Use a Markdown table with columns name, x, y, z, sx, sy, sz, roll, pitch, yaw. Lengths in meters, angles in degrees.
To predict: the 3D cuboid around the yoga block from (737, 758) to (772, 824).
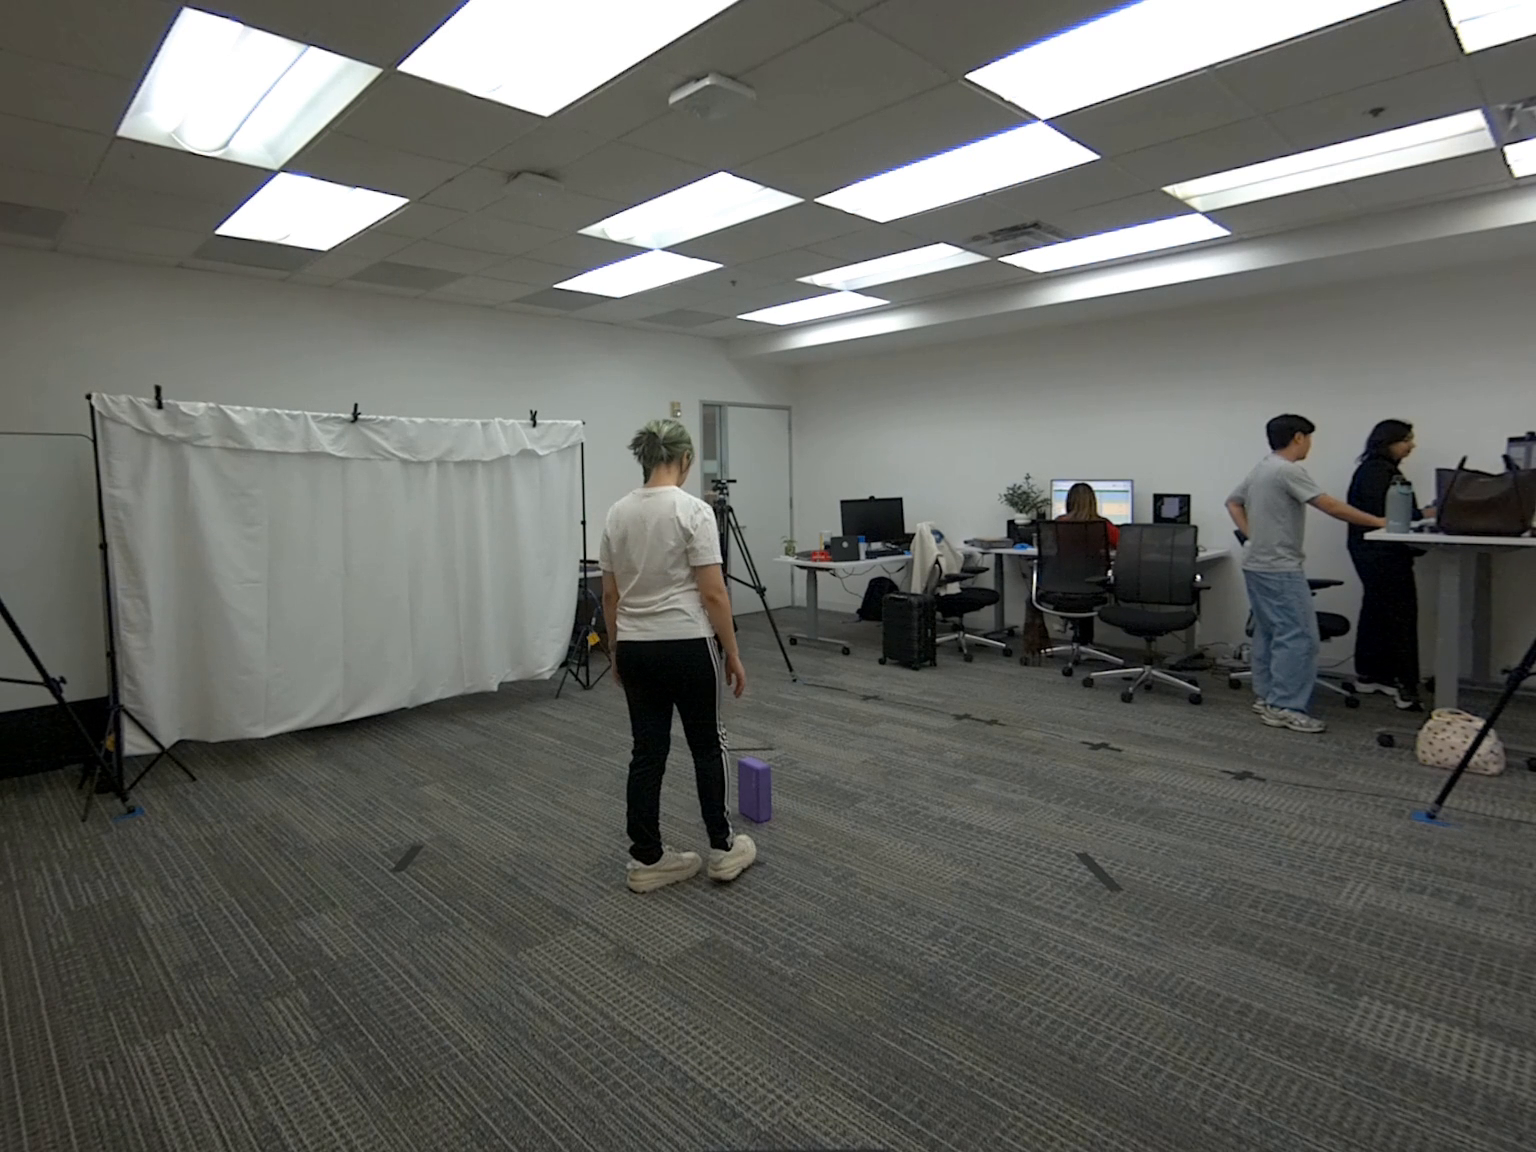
| name | x | y | z | sx | sy | sz | roll | pitch | yaw |
| --- | --- | --- | --- | --- | --- | --- | --- | --- | --- |
| yoga block | -0.055 | 0.882 | 3.541 | 0.074 | 0.228 | 0.153 | -4 | 5 | -36 |
